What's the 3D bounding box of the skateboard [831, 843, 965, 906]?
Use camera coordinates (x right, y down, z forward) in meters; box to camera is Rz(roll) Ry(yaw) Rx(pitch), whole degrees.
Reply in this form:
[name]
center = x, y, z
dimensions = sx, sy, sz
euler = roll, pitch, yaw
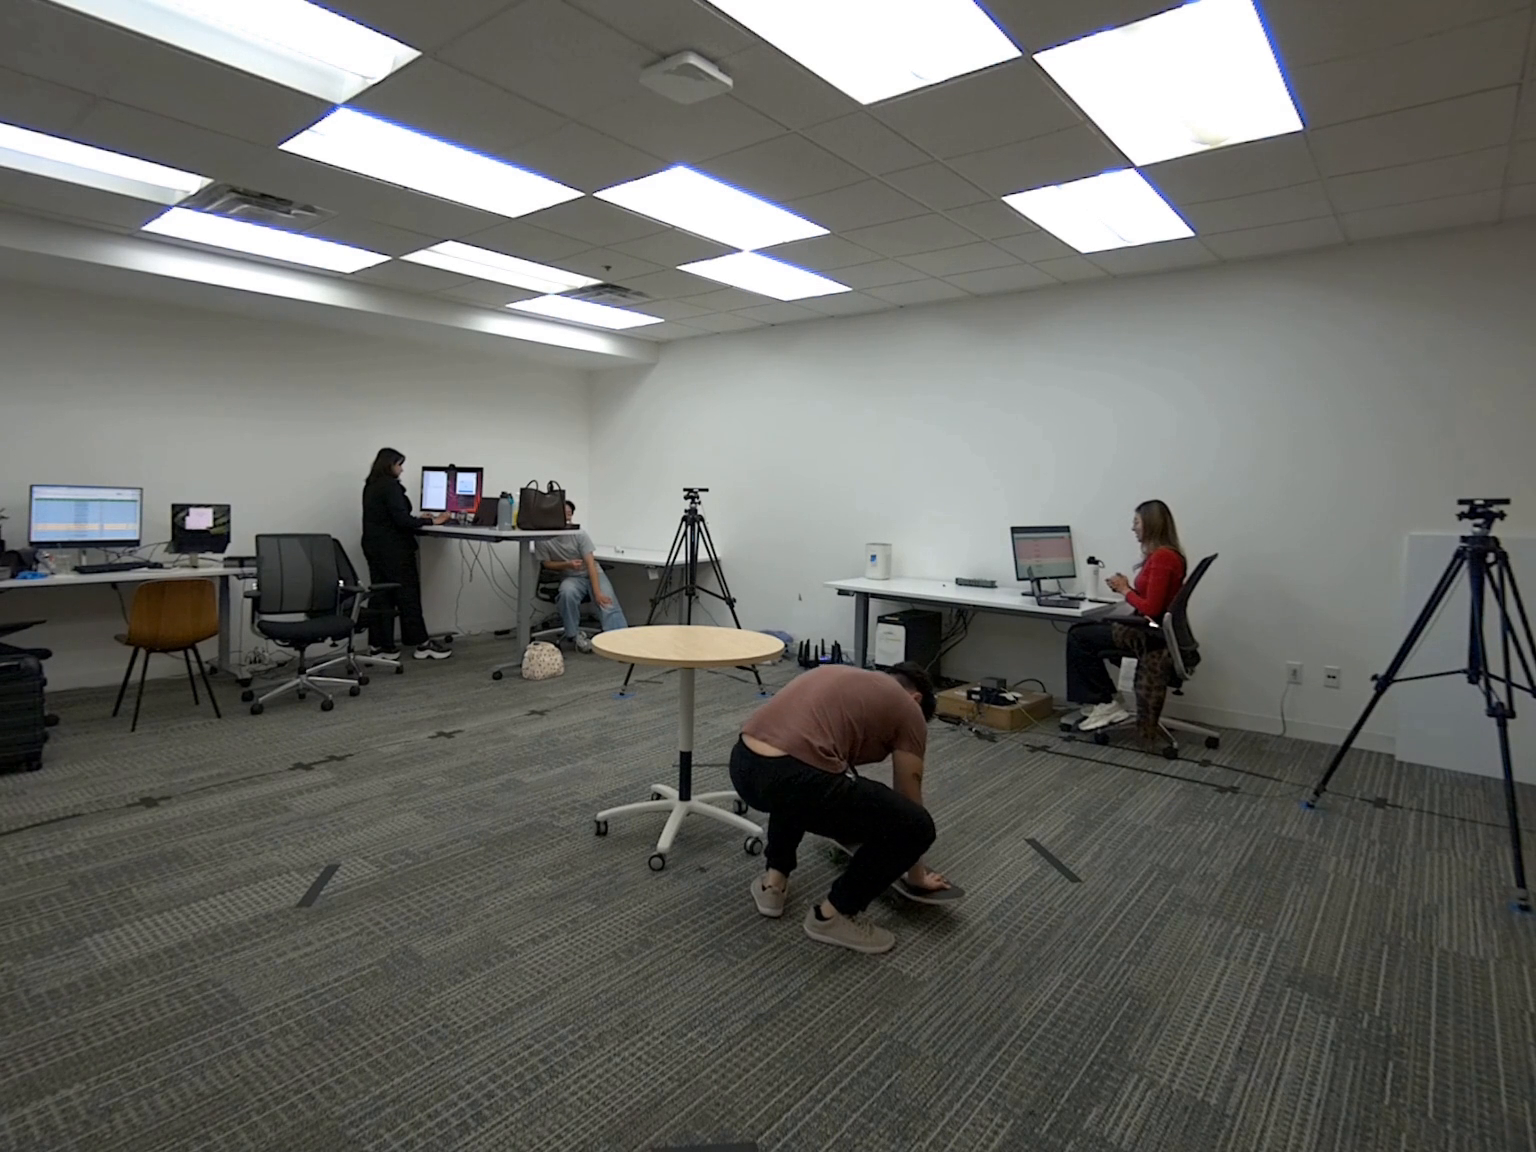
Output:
[skateboard]
center = 0.385, 1.025, 3.053
dimensions = 0.189, 0.110, 0.807
euler = 0, 6, -24
